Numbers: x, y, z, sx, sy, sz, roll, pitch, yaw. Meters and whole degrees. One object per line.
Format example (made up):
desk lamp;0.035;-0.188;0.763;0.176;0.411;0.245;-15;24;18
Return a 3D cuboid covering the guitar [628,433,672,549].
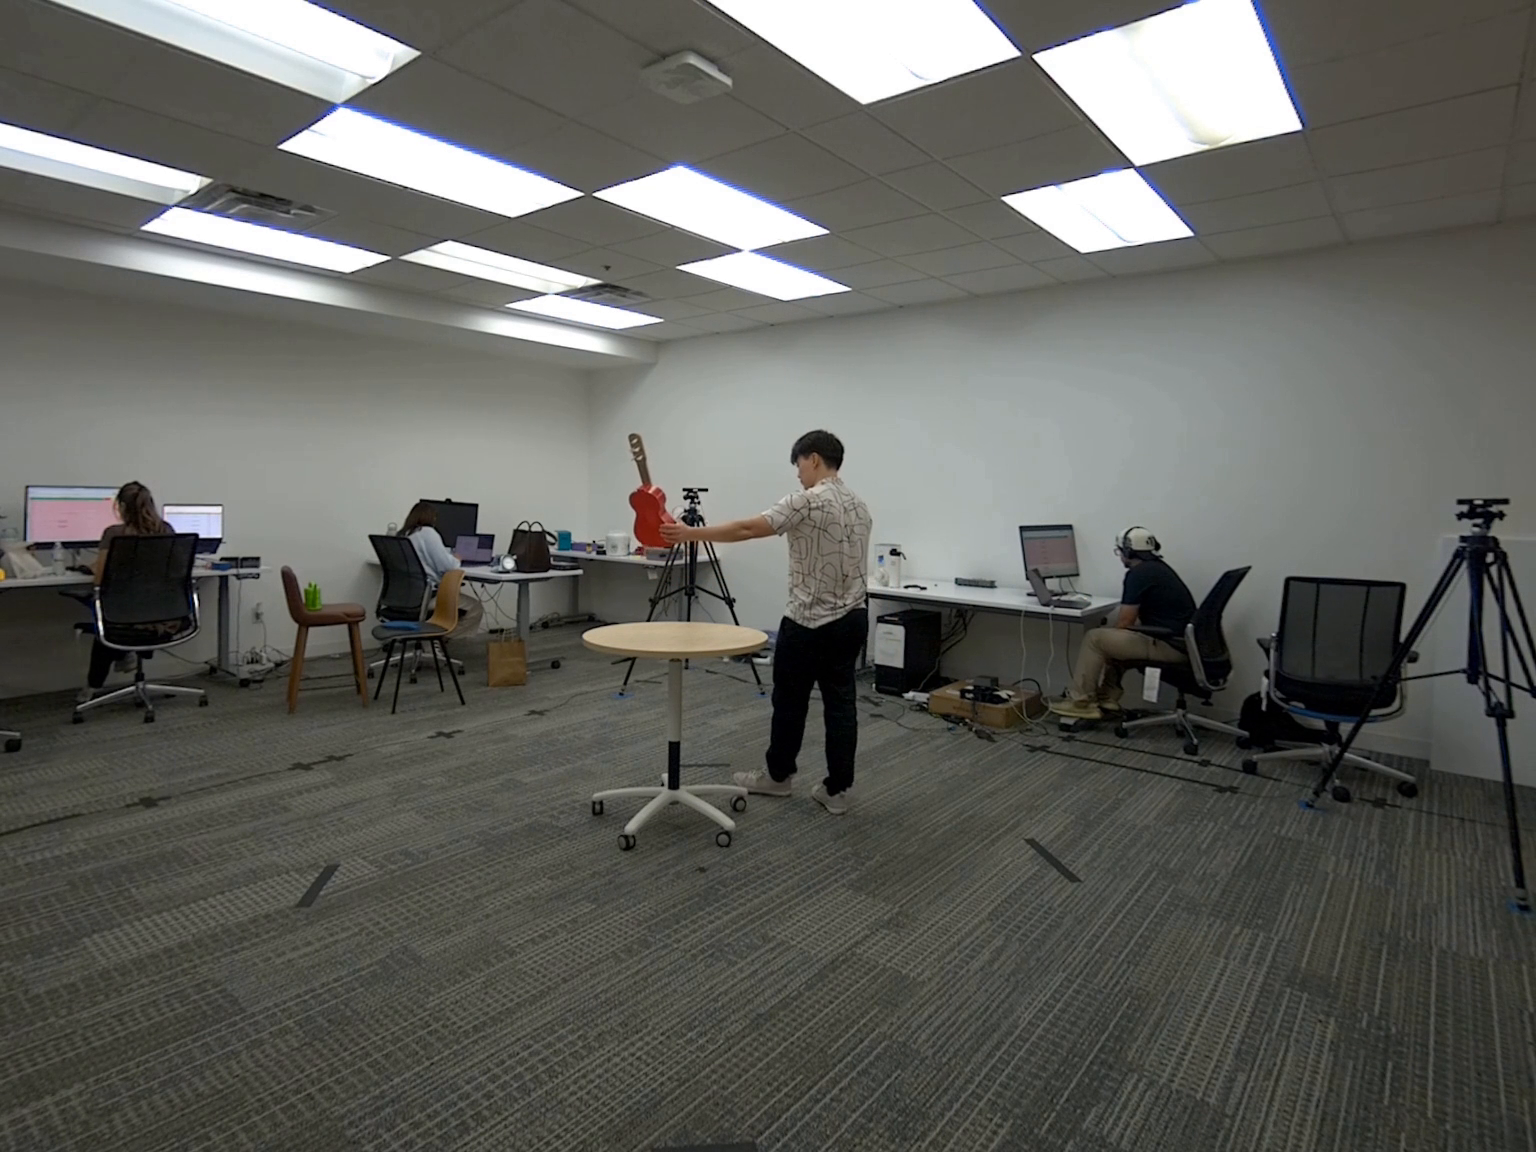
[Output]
guitar;-0.540;-0.347;3.507;0.198;0.484;0.071;-5;27;31
